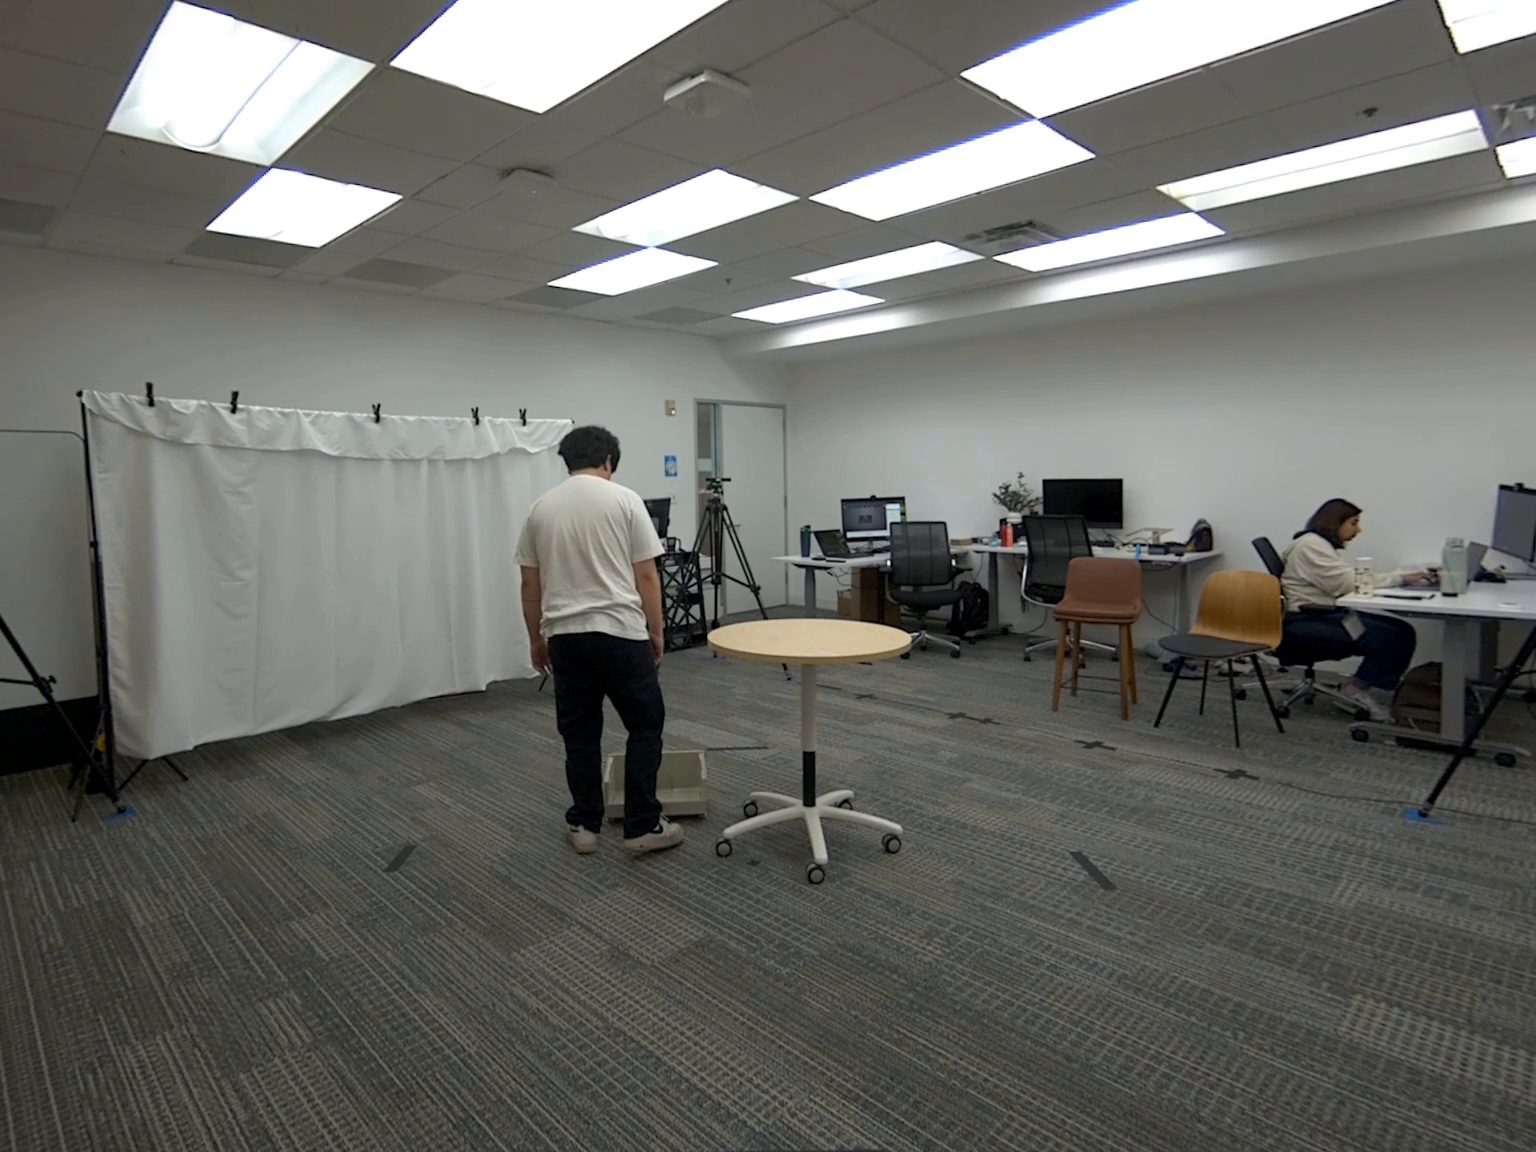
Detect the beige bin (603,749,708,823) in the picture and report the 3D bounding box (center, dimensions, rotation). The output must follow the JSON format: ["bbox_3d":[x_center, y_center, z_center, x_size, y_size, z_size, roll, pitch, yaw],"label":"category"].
[{"bbox_3d":[-0.475,0.903,3.658,0.420,0.188,0.380,-2,5,-5],"label":"beige bin"}]
